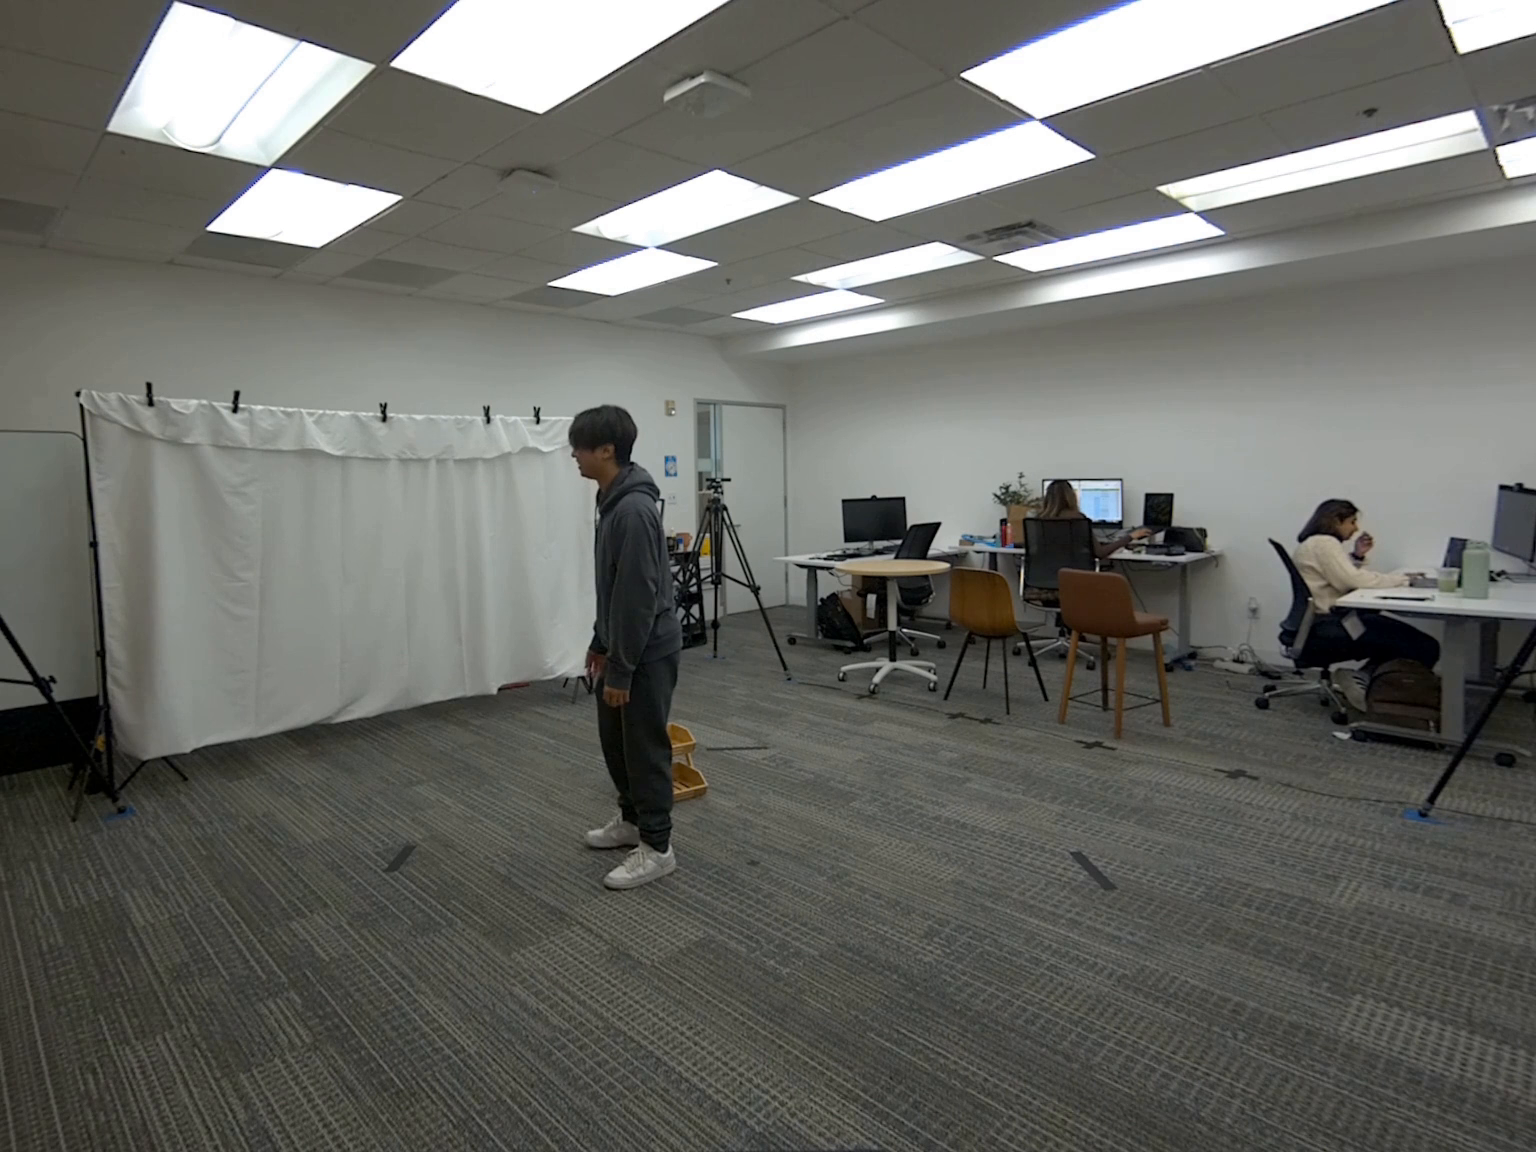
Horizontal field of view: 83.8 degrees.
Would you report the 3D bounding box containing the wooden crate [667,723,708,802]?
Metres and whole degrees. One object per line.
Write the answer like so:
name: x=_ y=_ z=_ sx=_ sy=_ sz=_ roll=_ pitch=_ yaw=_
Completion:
wooden crate: x=-0.473 y=0.834 z=3.814 sx=0.316 sy=0.272 sz=0.311 roll=-4 pitch=6 yaw=-35
